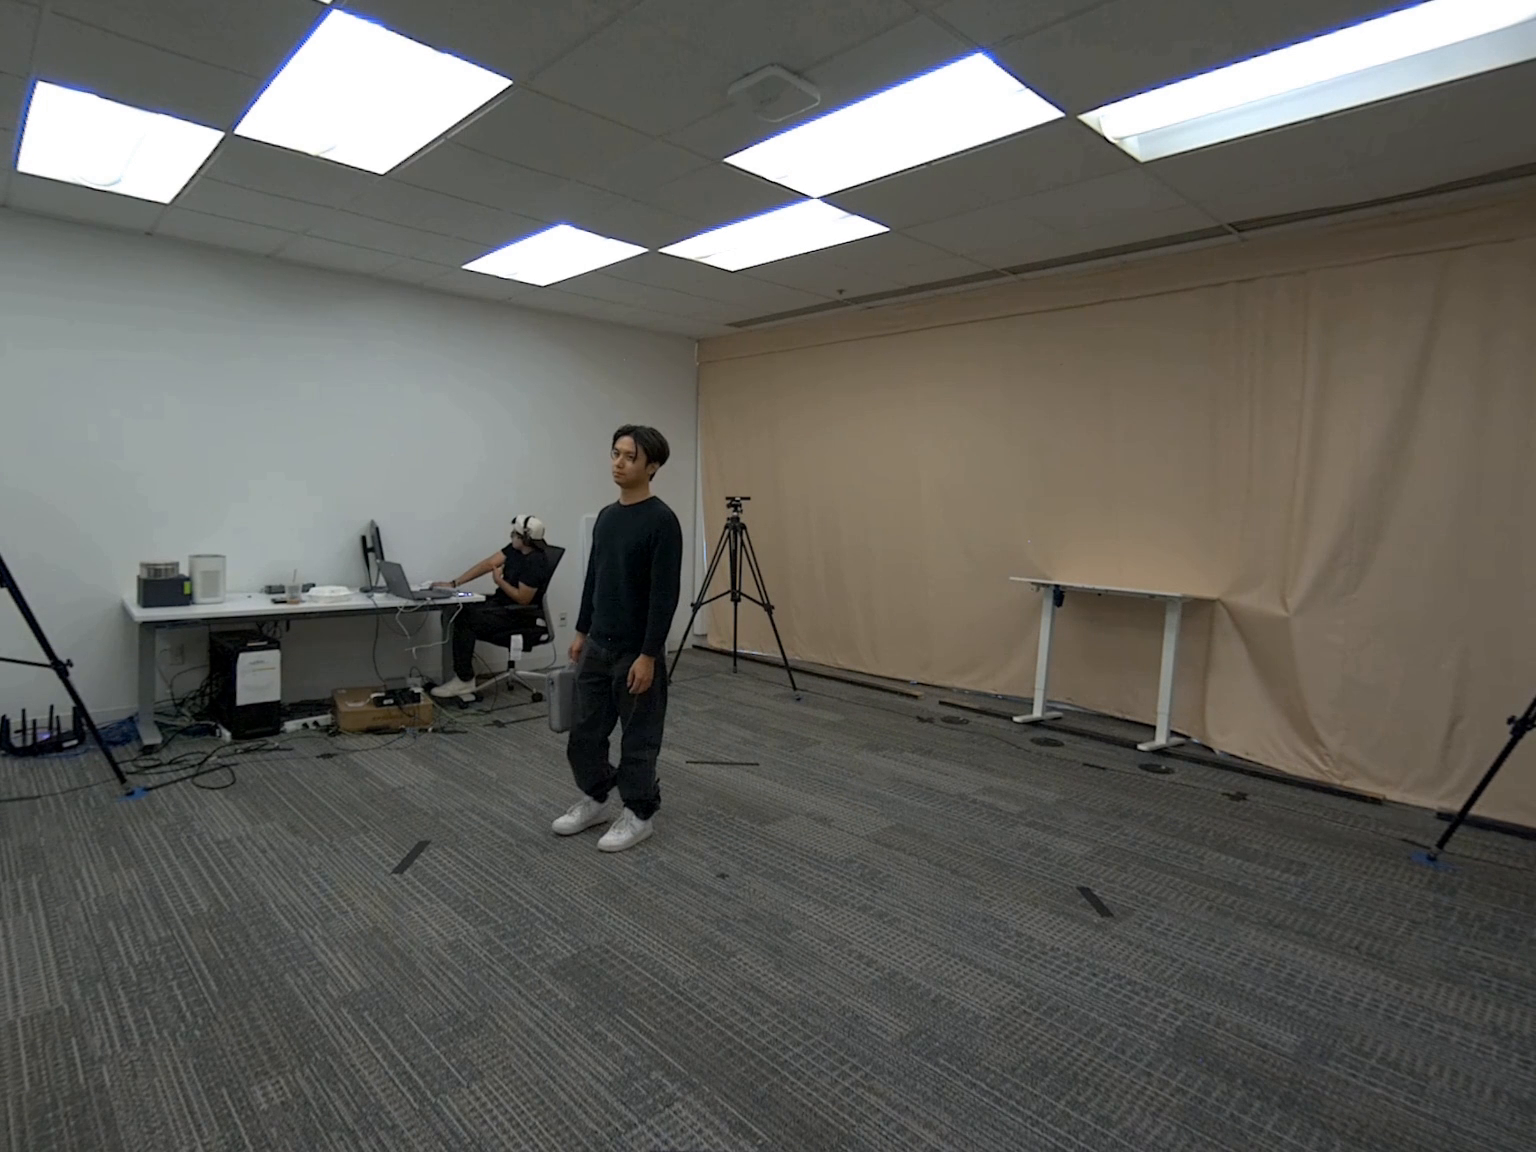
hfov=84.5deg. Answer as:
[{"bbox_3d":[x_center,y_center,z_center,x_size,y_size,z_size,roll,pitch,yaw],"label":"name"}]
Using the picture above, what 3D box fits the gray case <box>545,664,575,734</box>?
[{"bbox_3d":[-0.799,0.512,3.555,0.251,0.261,0.106,-2,-4,-42],"label":"gray case"}]
